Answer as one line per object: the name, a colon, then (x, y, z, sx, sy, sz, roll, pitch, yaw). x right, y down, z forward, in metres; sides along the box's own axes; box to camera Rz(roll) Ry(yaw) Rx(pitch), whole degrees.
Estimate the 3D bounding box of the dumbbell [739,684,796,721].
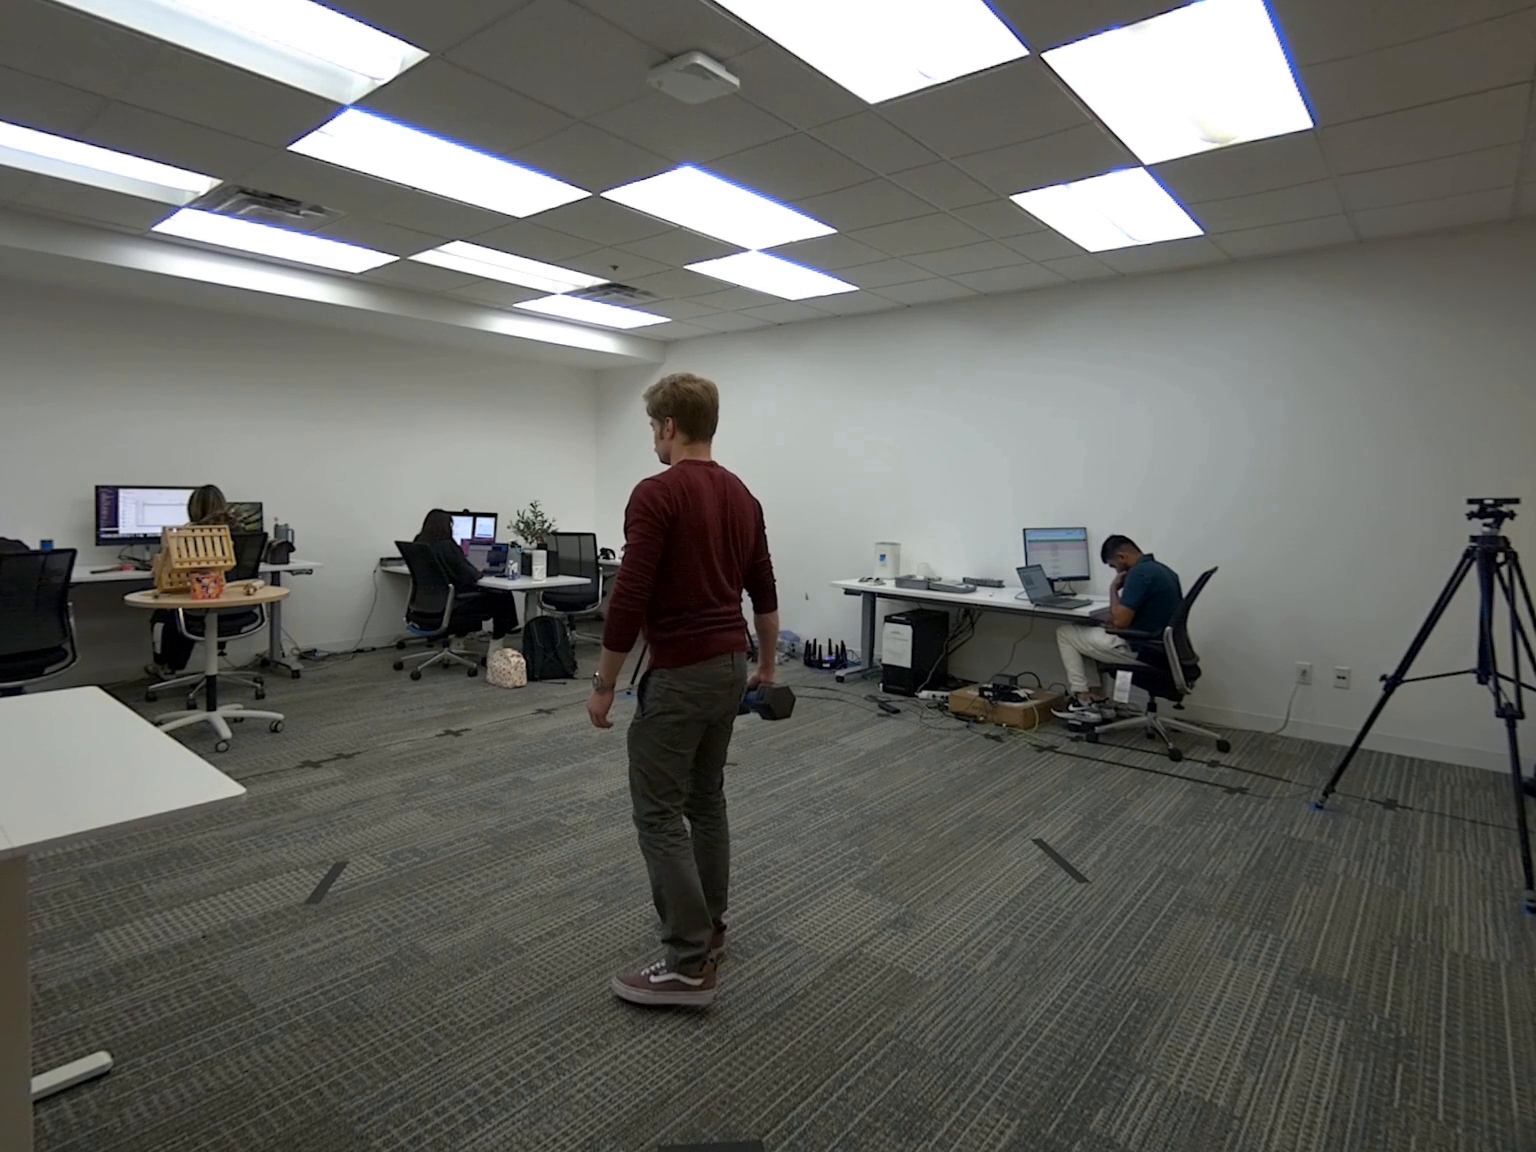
dumbbell: (-0.058, 0.382, 2.651, 0.105, 0.124, 0.300, 33, -23, -28)
